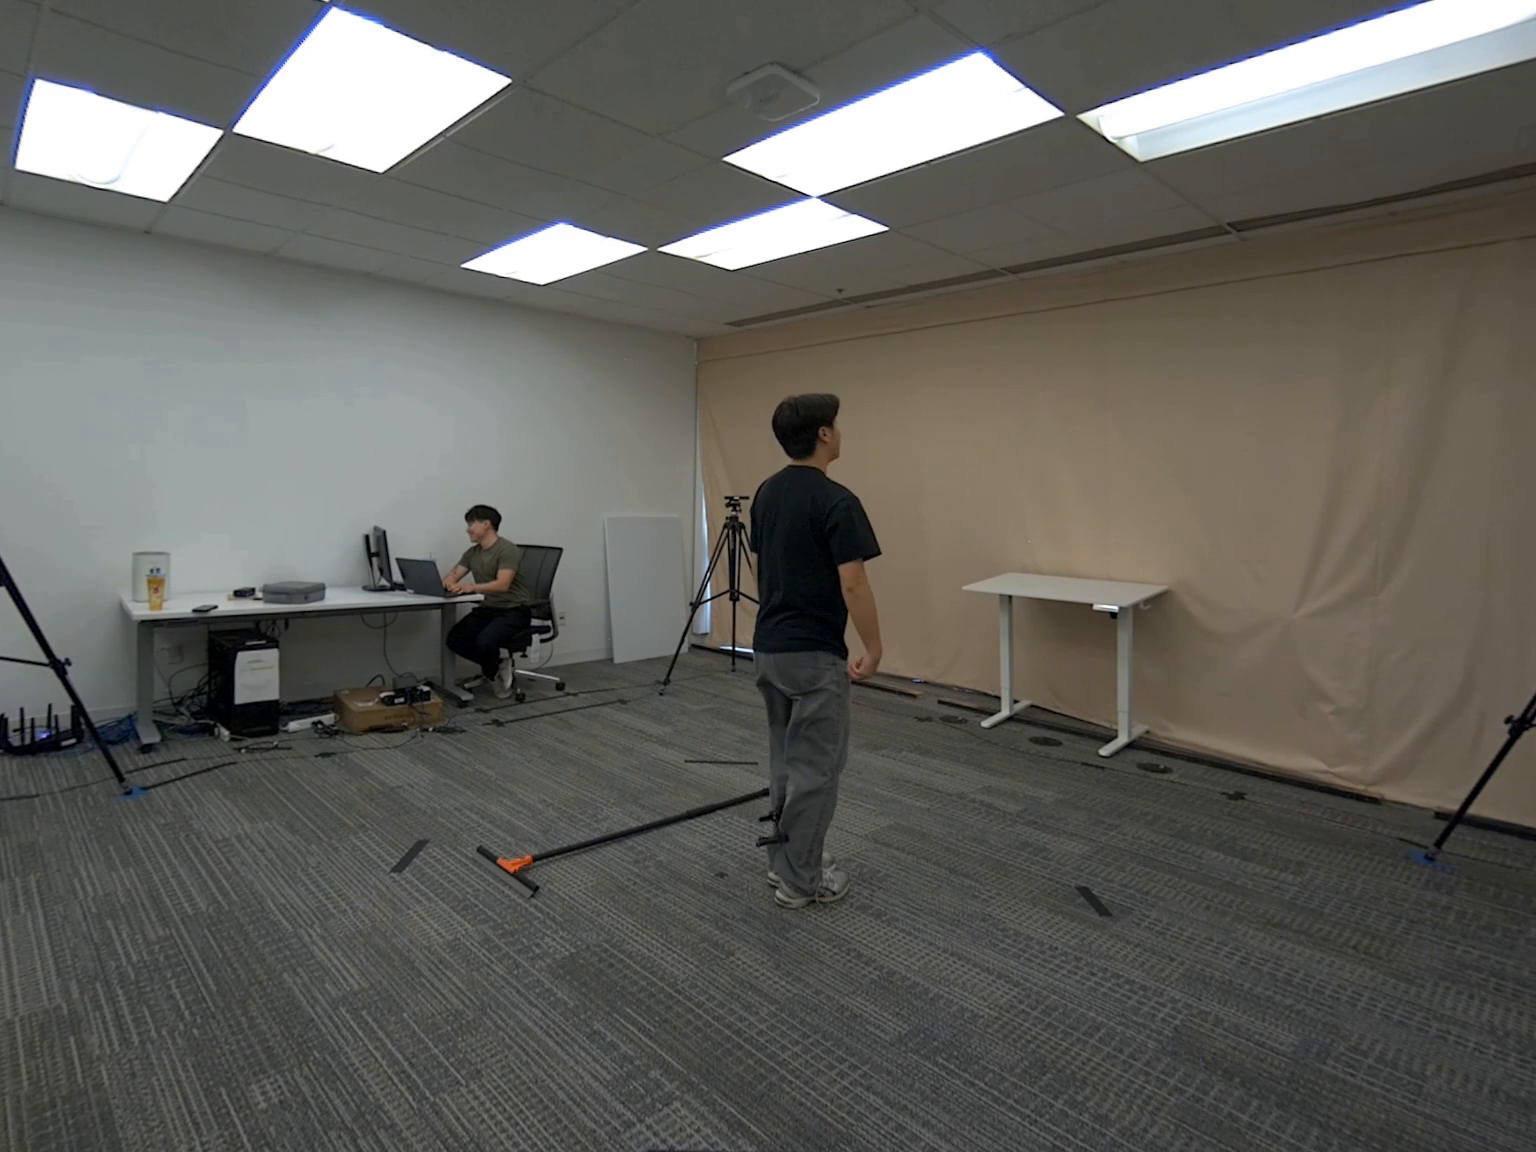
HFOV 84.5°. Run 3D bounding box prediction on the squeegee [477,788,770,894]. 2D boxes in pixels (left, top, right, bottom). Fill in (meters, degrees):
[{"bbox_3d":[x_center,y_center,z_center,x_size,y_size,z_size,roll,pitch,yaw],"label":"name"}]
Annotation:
[{"bbox_3d":[-0.427,1.019,3.548,1.502,0.053,0.449,-2,7,-43],"label":"squeegee"}]
